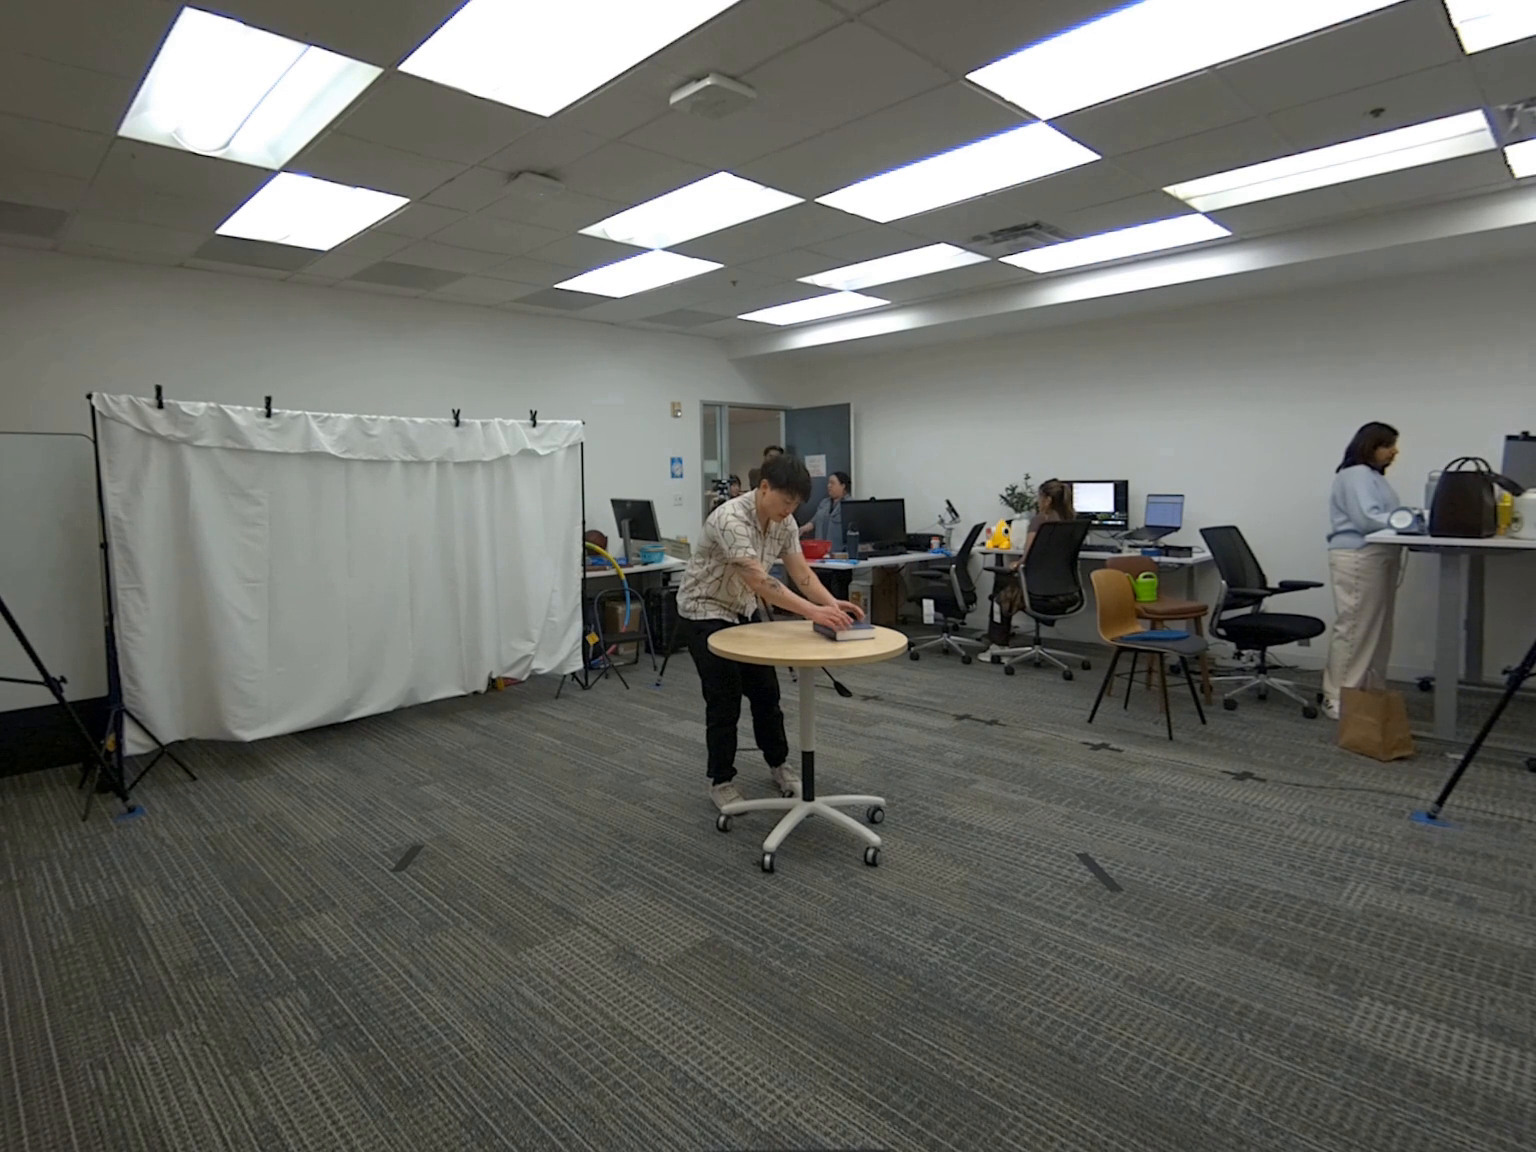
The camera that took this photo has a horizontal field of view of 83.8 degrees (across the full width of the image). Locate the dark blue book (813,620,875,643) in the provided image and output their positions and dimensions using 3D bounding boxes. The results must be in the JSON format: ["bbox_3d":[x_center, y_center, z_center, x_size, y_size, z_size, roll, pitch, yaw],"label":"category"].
[{"bbox_3d":[0.302,0.213,3.361,0.161,0.045,0.250,-2,8,-15],"label":"dark blue book"}]
